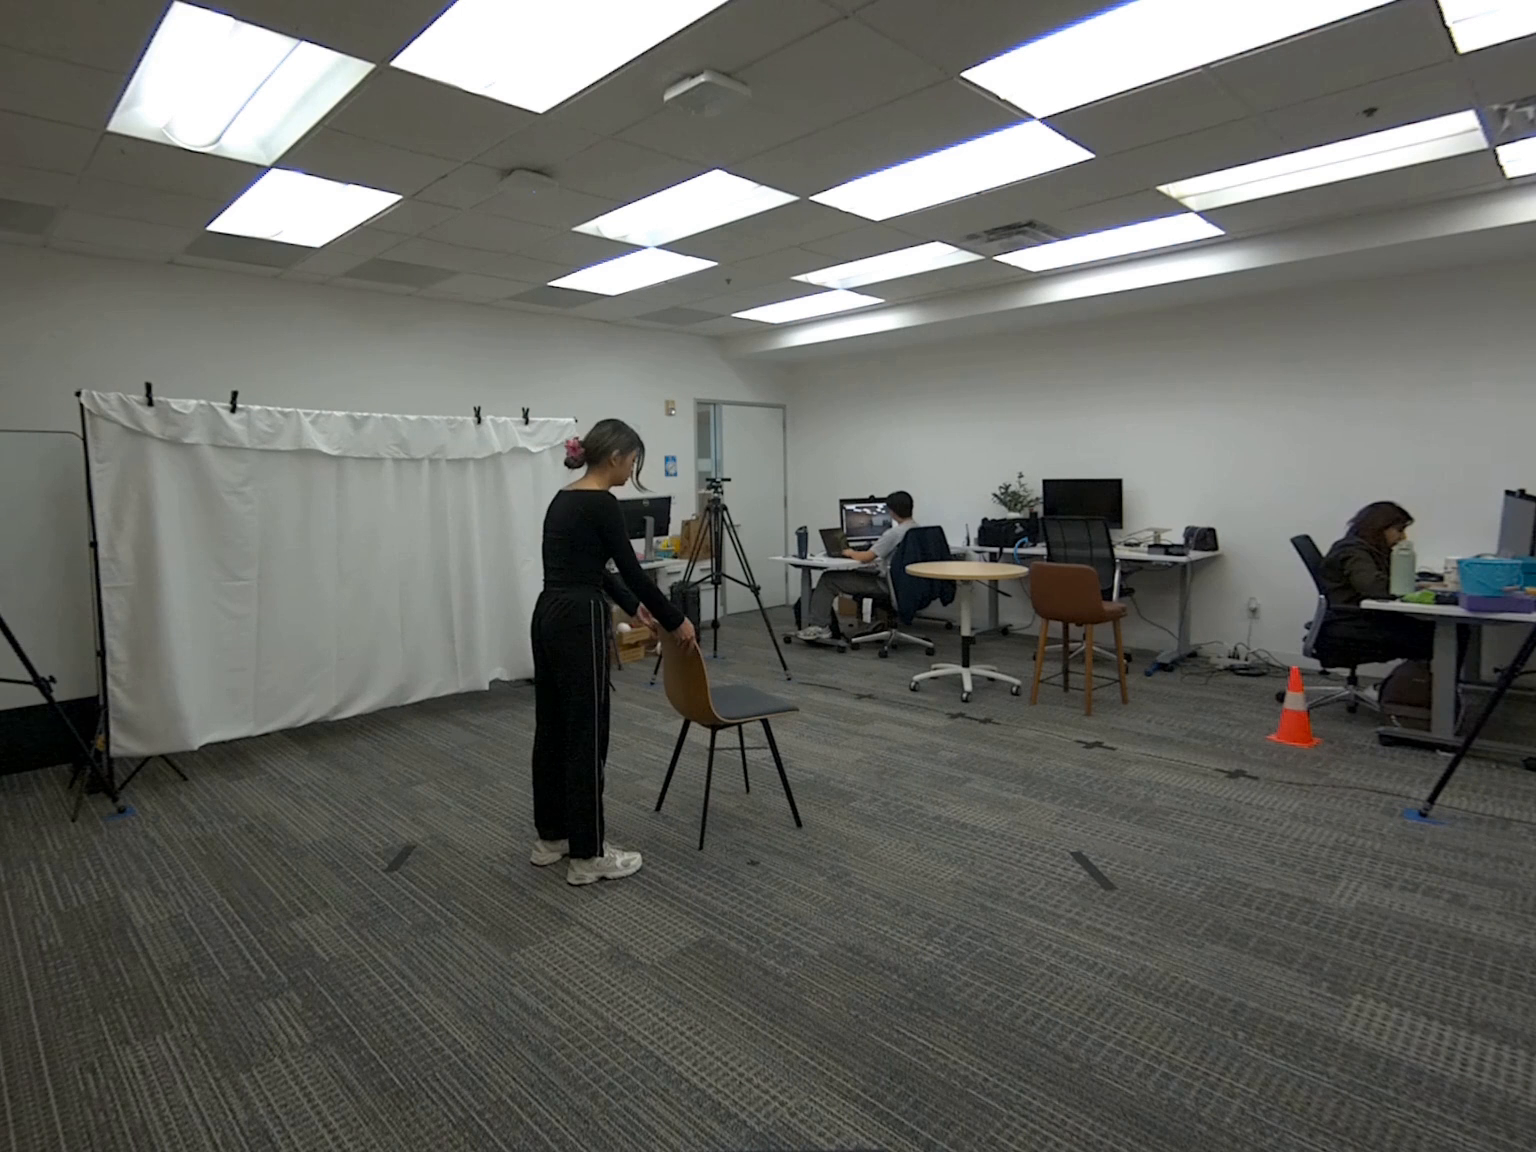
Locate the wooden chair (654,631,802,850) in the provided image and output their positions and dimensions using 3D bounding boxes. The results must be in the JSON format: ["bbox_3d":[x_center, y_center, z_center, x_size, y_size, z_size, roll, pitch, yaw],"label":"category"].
[{"bbox_3d":[-0.172,0.575,3.483,0.512,0.872,0.491,-8,7,-28],"label":"wooden chair"}]
